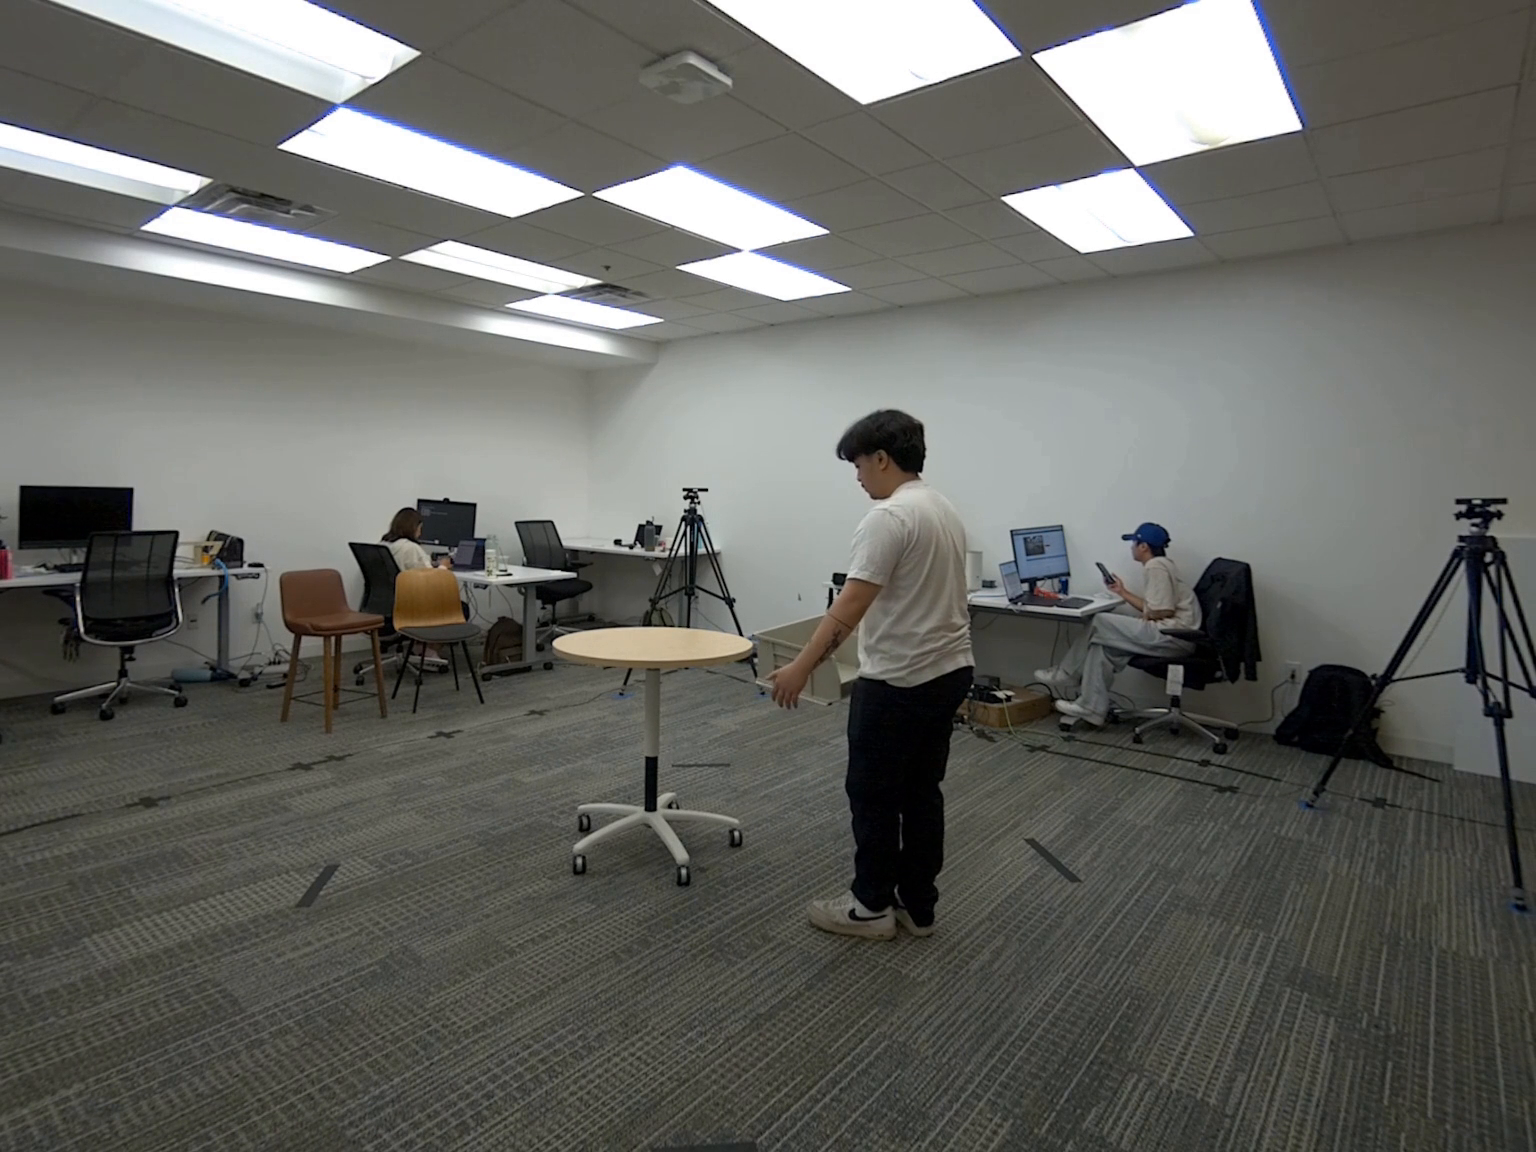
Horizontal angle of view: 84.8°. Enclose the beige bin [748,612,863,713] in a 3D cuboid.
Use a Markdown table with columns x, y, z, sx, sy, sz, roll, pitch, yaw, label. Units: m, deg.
| x | y | z | sx | sy | sz | roll | pitch | yaw | label |
| --- | --- | --- | --- | --- | --- | --- | --- | --- | --- |
| 0.212 | 0.288 | 2.979 | 0.391 | 0.187 | 0.411 | 10 | 15 | 42 | beige bin |
